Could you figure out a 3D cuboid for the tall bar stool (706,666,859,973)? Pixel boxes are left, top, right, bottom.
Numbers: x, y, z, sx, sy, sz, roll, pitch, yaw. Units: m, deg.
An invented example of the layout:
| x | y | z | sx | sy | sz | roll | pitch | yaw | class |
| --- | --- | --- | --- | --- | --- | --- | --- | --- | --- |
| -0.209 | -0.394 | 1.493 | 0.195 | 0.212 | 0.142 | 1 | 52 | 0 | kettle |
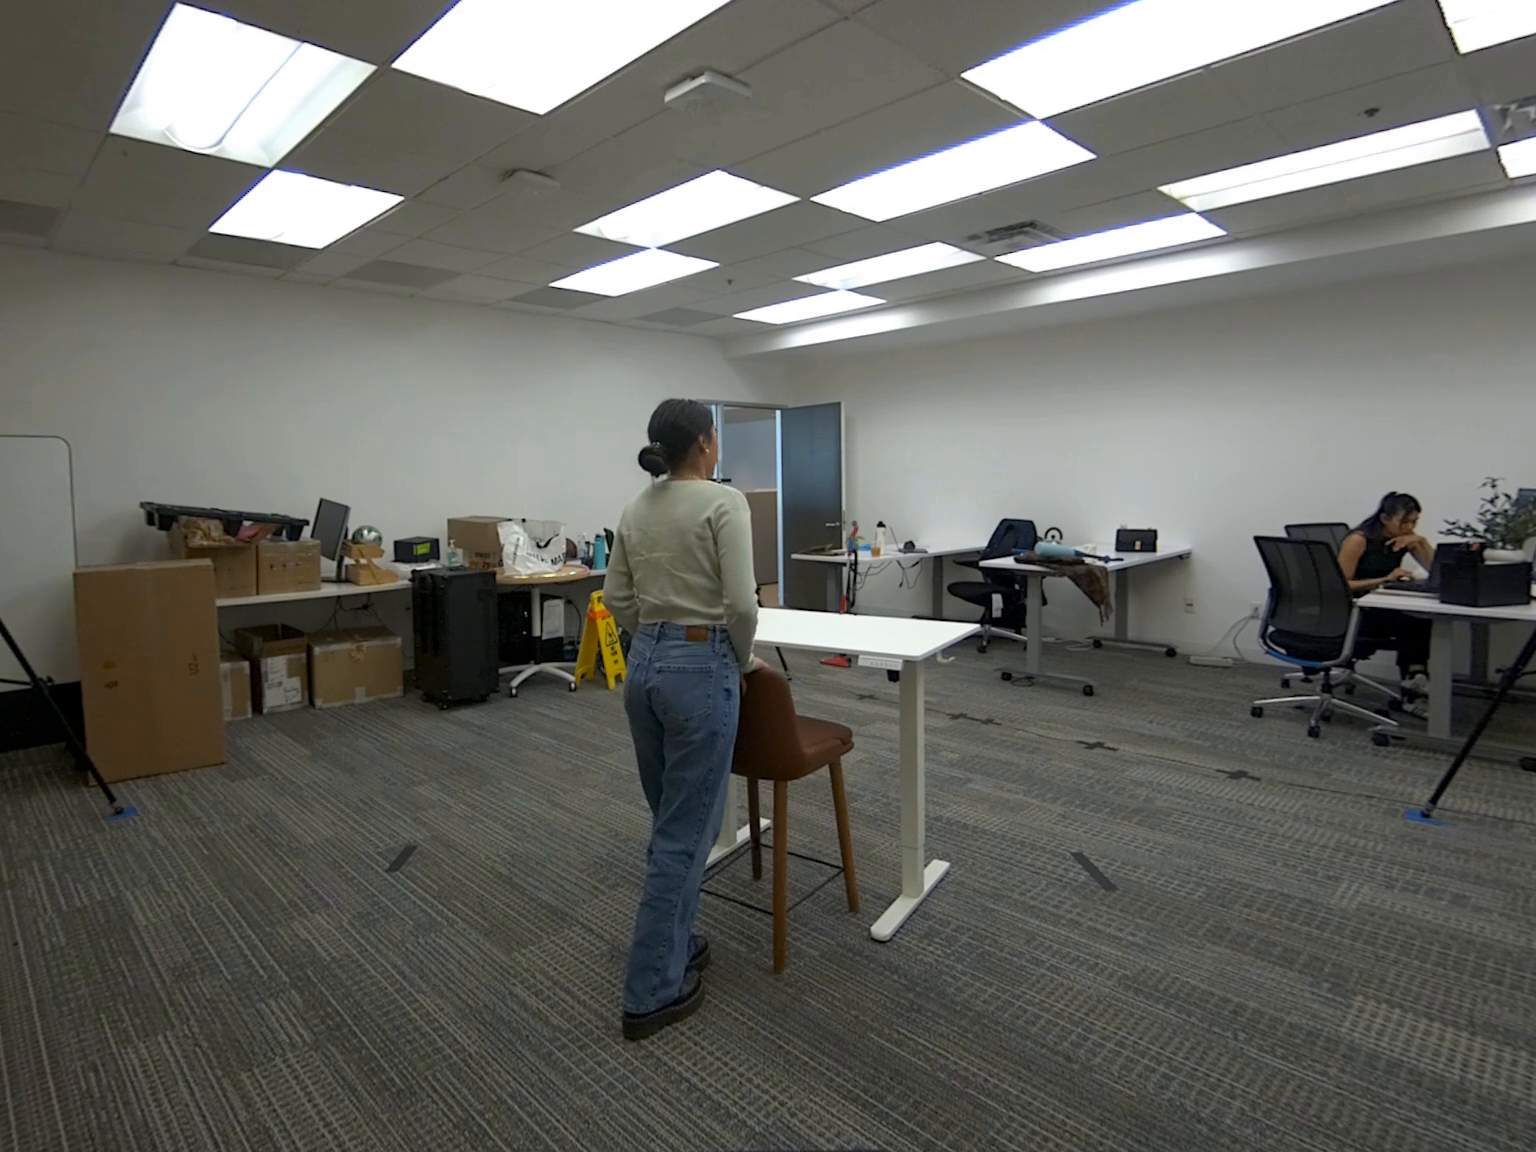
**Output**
| x | y | z | sx | sy | sz | roll | pitch | yaw | class |
| --- | --- | --- | --- | --- | --- | --- | --- | --- | --- |
| -0.004 | 0.662 | 2.652 | 0.470 | 0.884 | 0.457 | 2 | 8 | 35 | tall bar stool |
